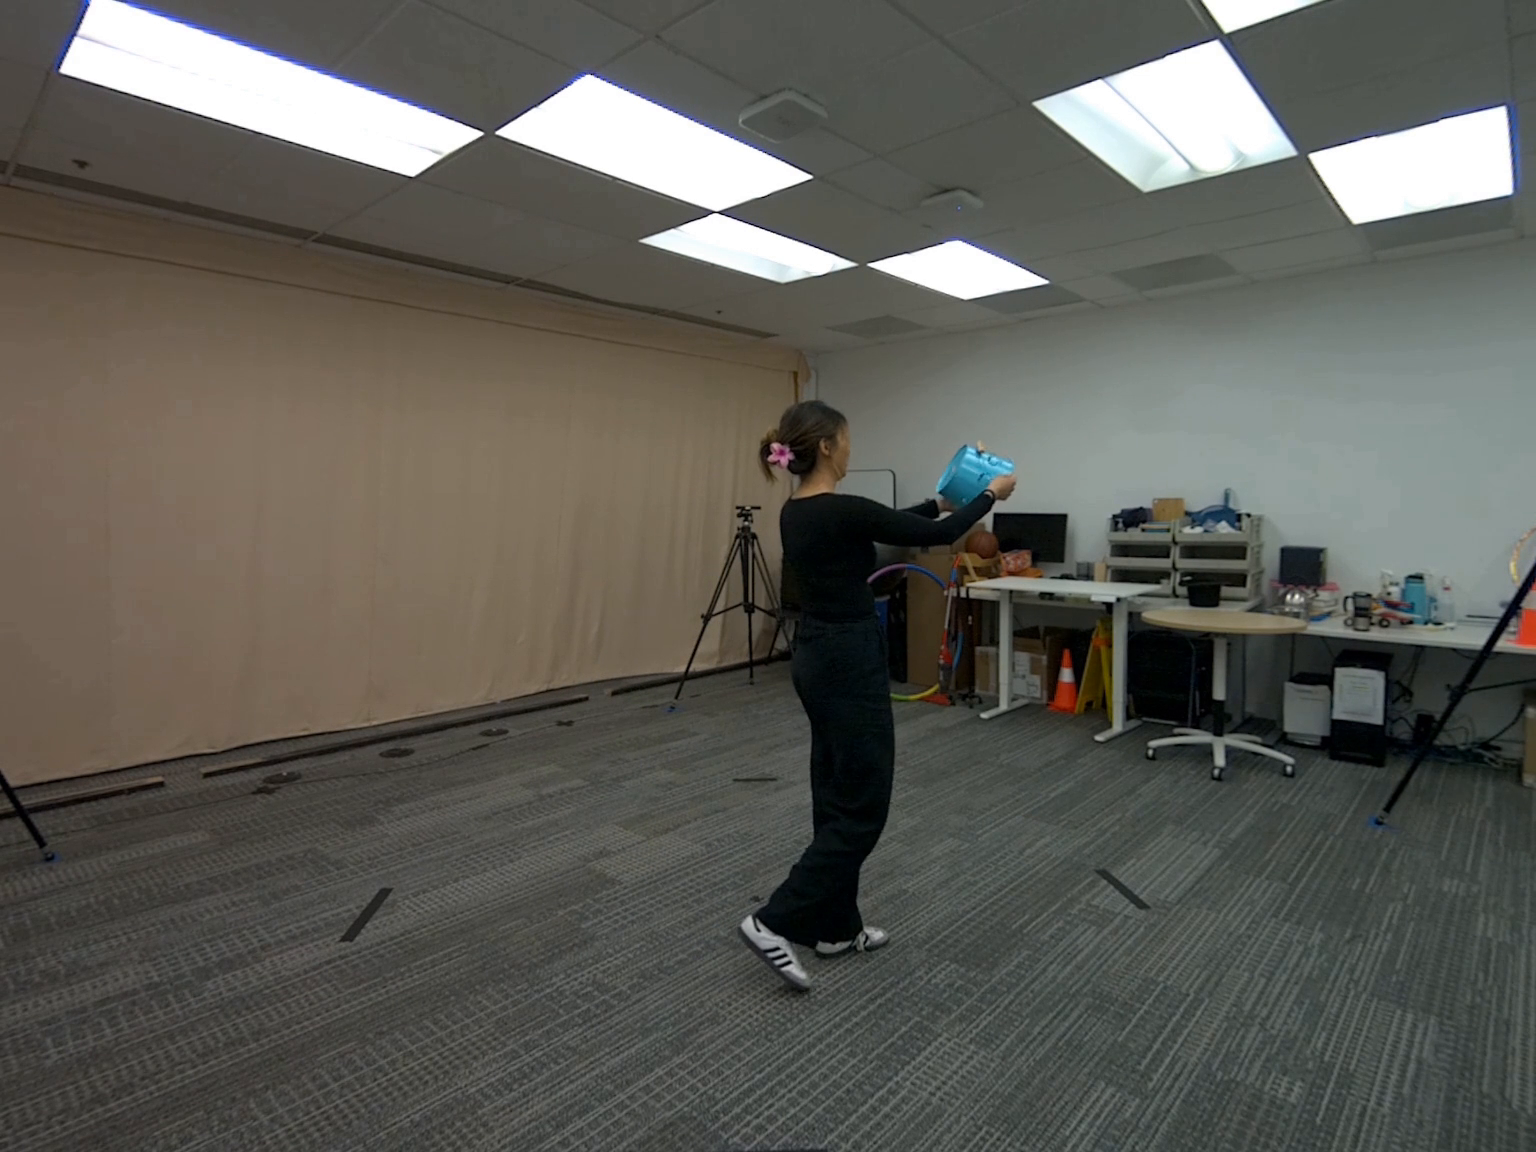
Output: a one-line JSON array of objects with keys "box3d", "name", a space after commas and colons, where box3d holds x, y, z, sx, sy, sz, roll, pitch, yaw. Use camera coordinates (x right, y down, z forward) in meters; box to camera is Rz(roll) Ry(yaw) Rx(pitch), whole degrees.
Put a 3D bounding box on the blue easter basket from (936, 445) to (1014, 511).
[{"box3d": [0.684, -0.316, 2.729, 0.156, 0.243, 0.244, 29, 4, -1], "name": "blue easter basket"}]
